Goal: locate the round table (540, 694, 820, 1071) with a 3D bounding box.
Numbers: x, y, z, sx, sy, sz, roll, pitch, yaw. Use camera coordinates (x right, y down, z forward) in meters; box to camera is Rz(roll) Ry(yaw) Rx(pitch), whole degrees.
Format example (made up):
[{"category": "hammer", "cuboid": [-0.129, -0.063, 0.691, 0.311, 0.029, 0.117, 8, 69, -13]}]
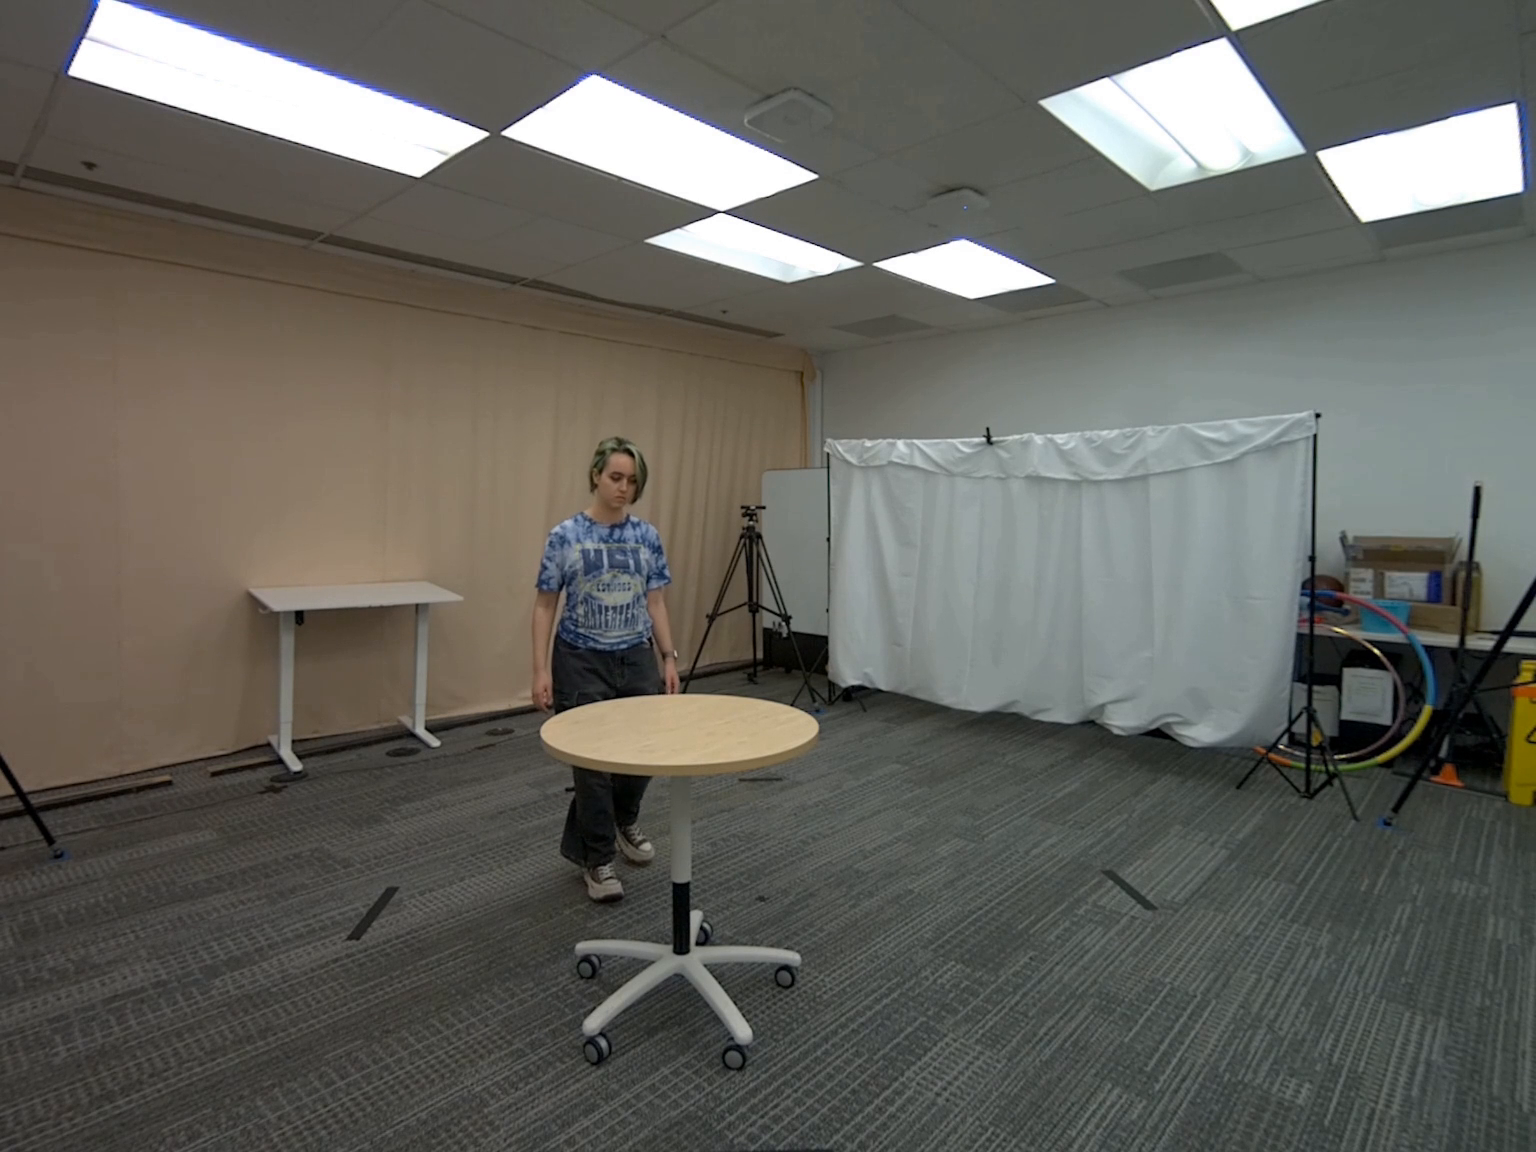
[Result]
[{"category": "round table", "cuboid": [-0.238, 0.810, 2.359, 0.763, 0.792, 0.767, -1, 4, -2]}]
